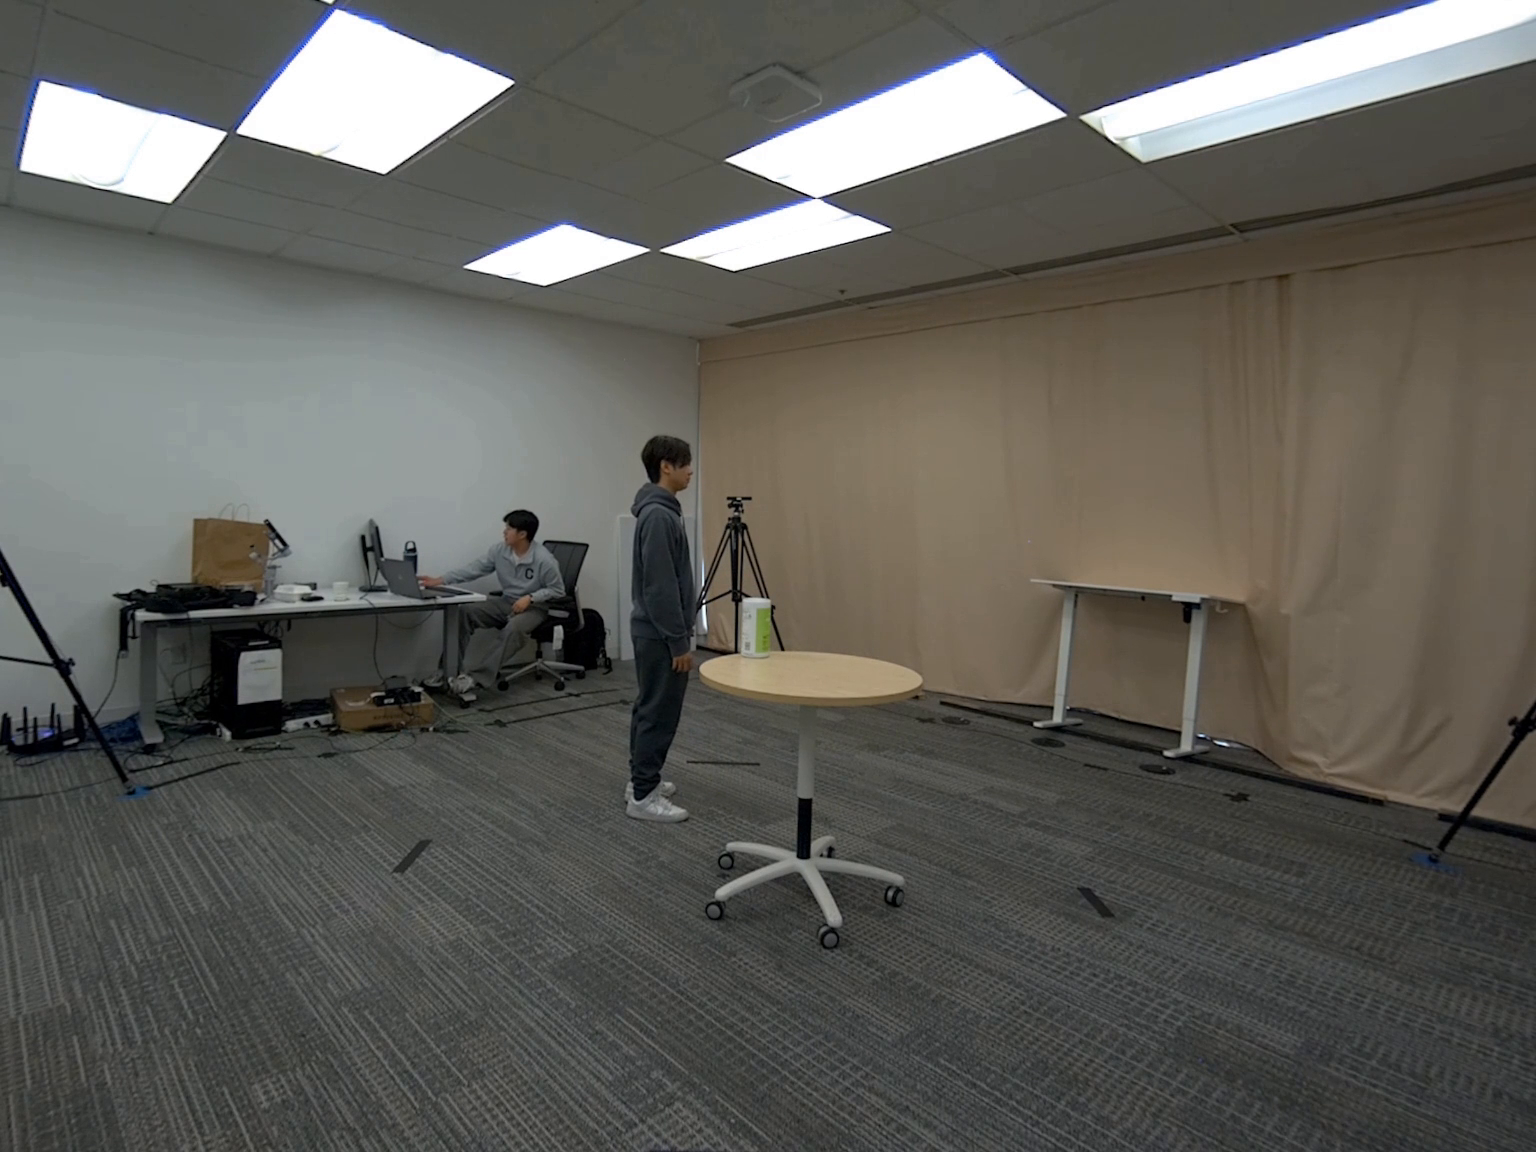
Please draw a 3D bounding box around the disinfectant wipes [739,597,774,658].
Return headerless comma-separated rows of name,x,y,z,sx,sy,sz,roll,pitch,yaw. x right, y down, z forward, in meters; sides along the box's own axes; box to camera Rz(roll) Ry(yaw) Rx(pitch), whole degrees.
disinfectant wipes,-0.053,0.198,3.174,0.118,0.217,0.118,0,1,-1
